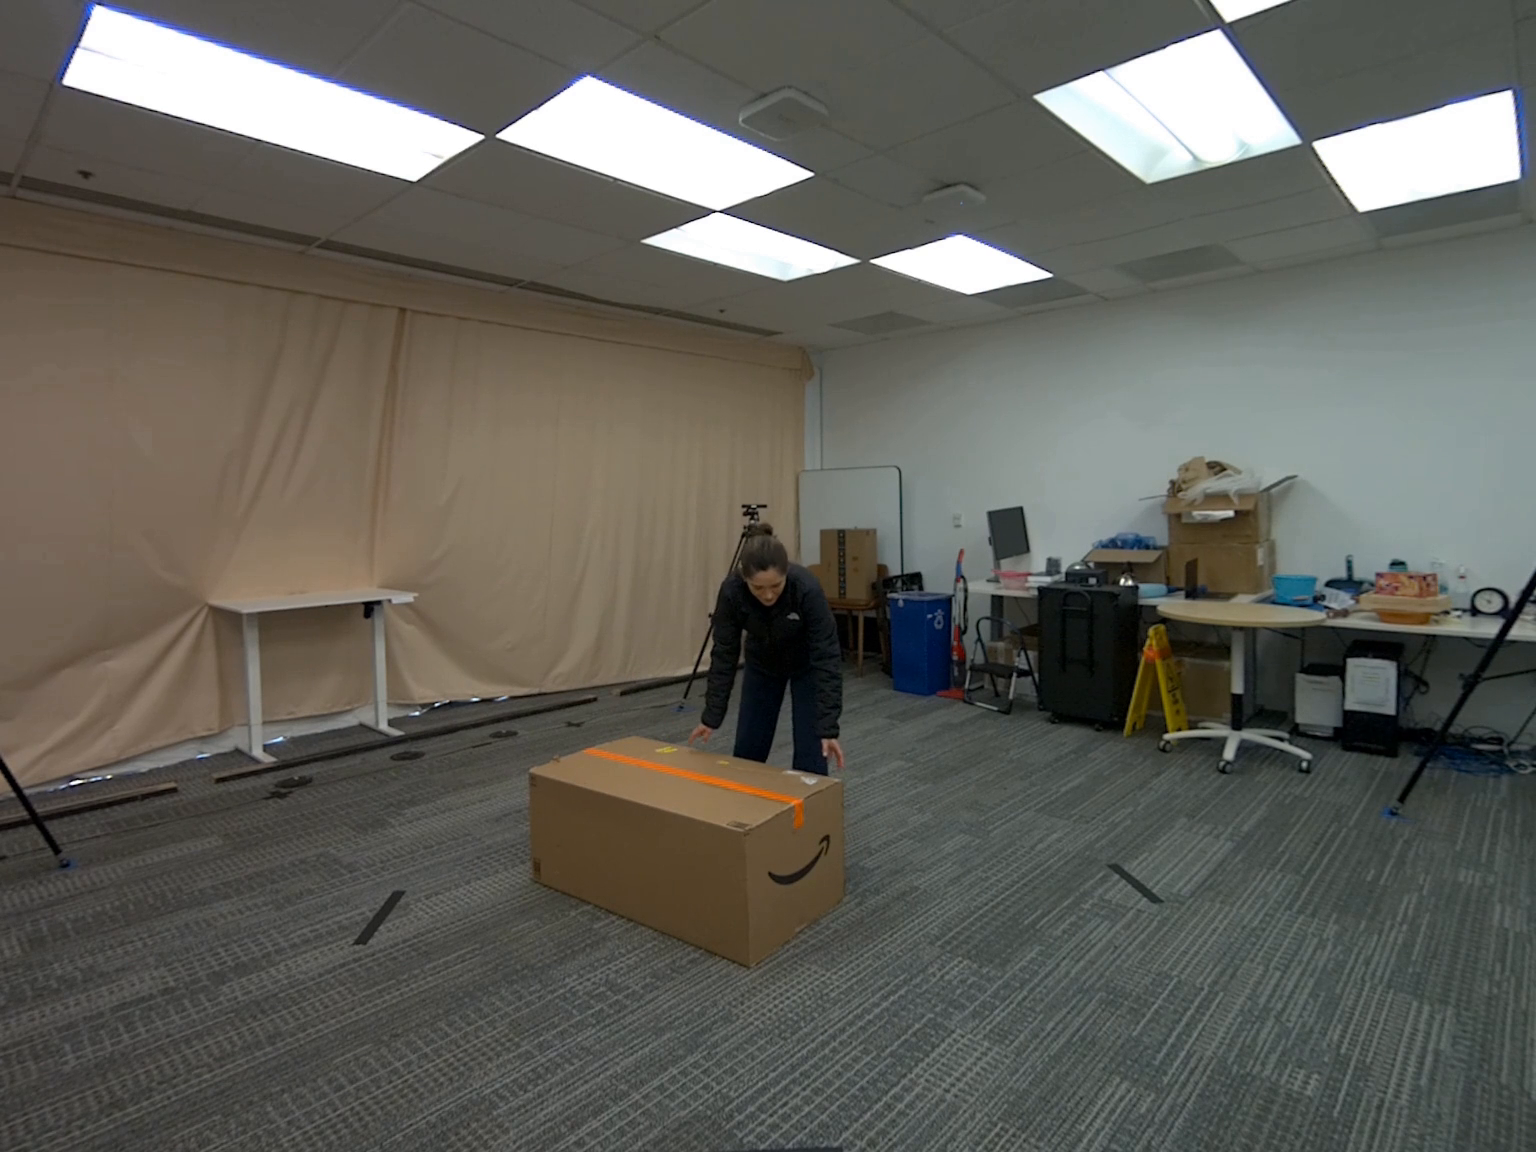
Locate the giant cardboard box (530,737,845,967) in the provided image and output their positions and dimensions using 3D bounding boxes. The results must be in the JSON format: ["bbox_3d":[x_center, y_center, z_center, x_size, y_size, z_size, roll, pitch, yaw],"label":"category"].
[{"bbox_3d":[-0.302,0.926,3.051,1.058,0.425,0.561,2,5,37],"label":"giant cardboard box"}]
